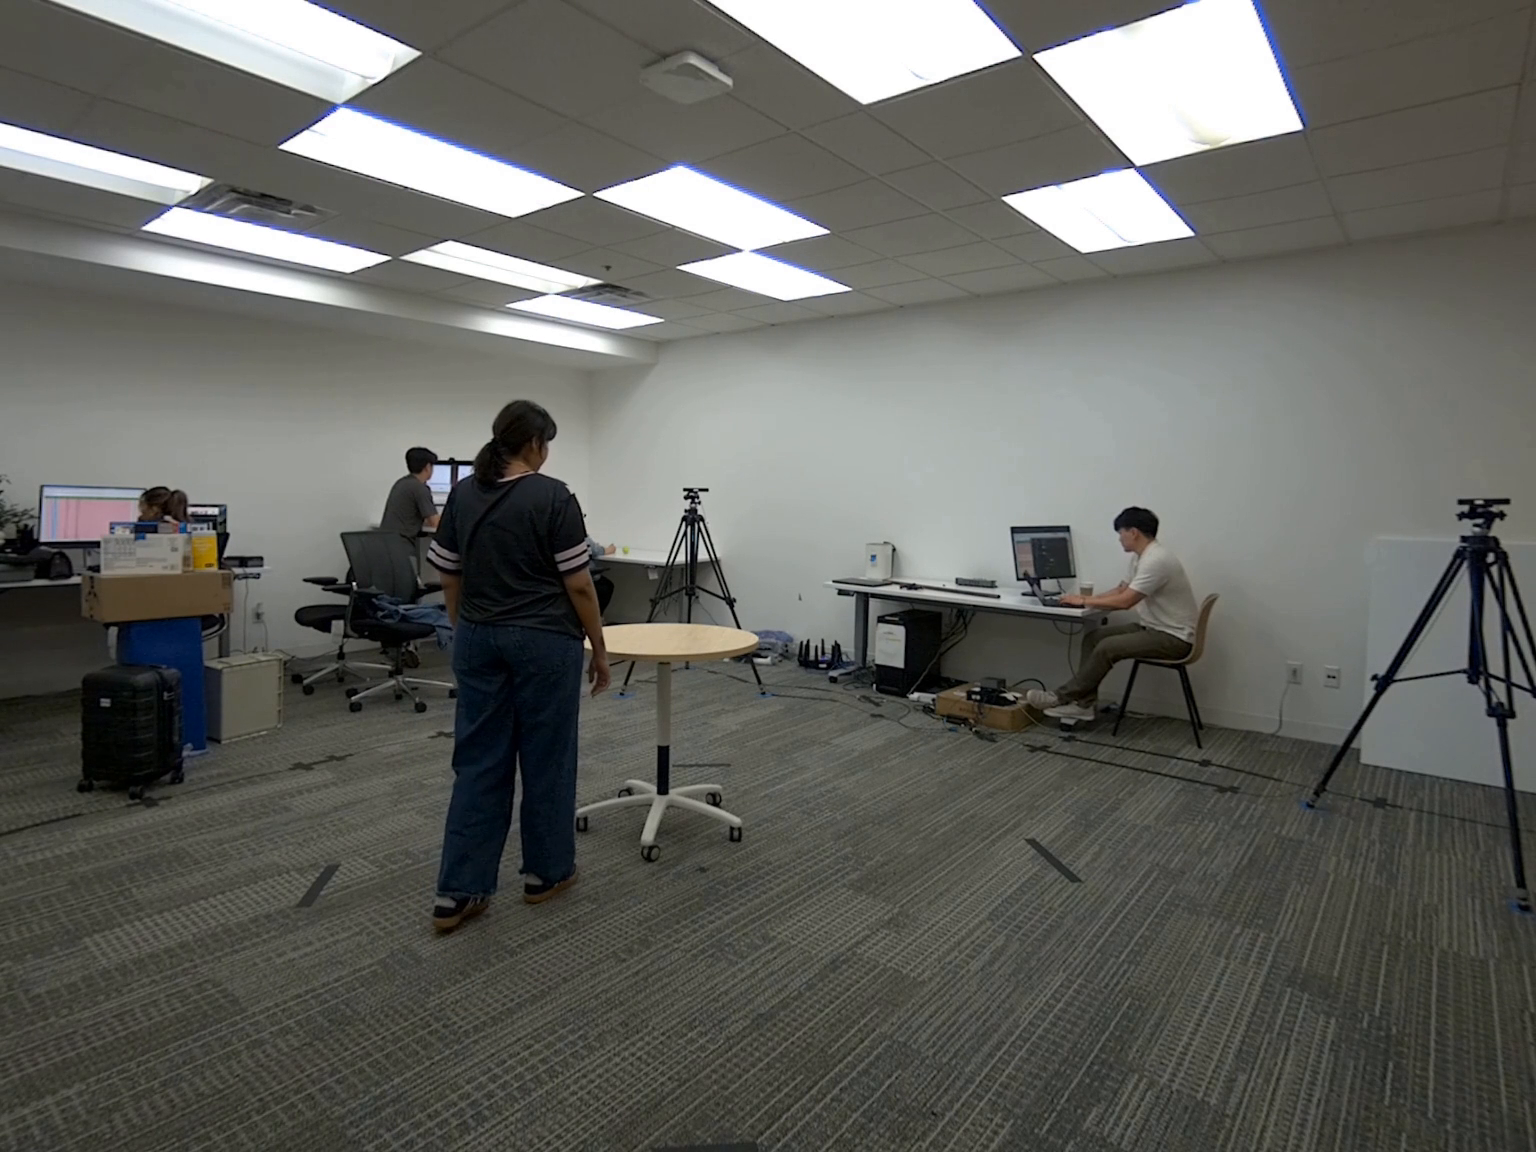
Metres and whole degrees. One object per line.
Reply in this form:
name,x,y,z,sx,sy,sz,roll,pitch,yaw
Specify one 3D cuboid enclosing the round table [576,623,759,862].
round table,-0.450,0.637,3.479,0.784,0.784,0.789,1,4,-2
